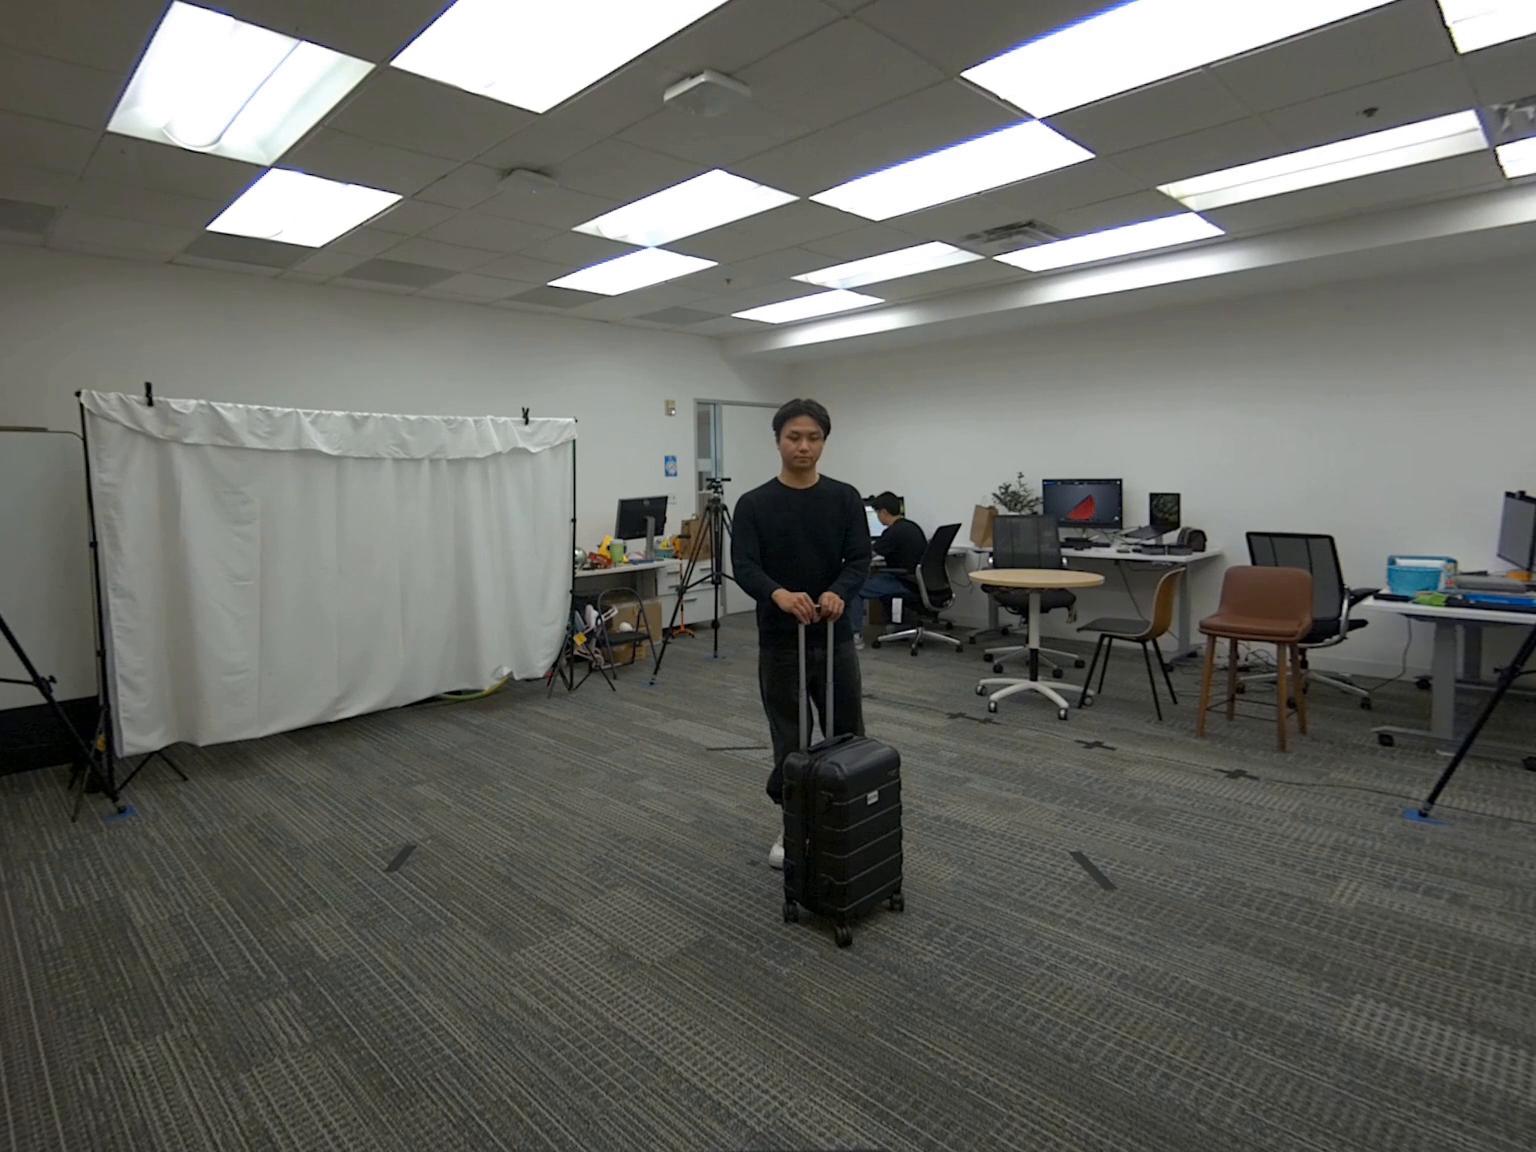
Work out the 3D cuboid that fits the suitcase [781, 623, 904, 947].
[{"bbox_3d":[0.252,0.608,2.711,0.265,0.974,0.374,5,7,44],"label":"suitcase"}]
